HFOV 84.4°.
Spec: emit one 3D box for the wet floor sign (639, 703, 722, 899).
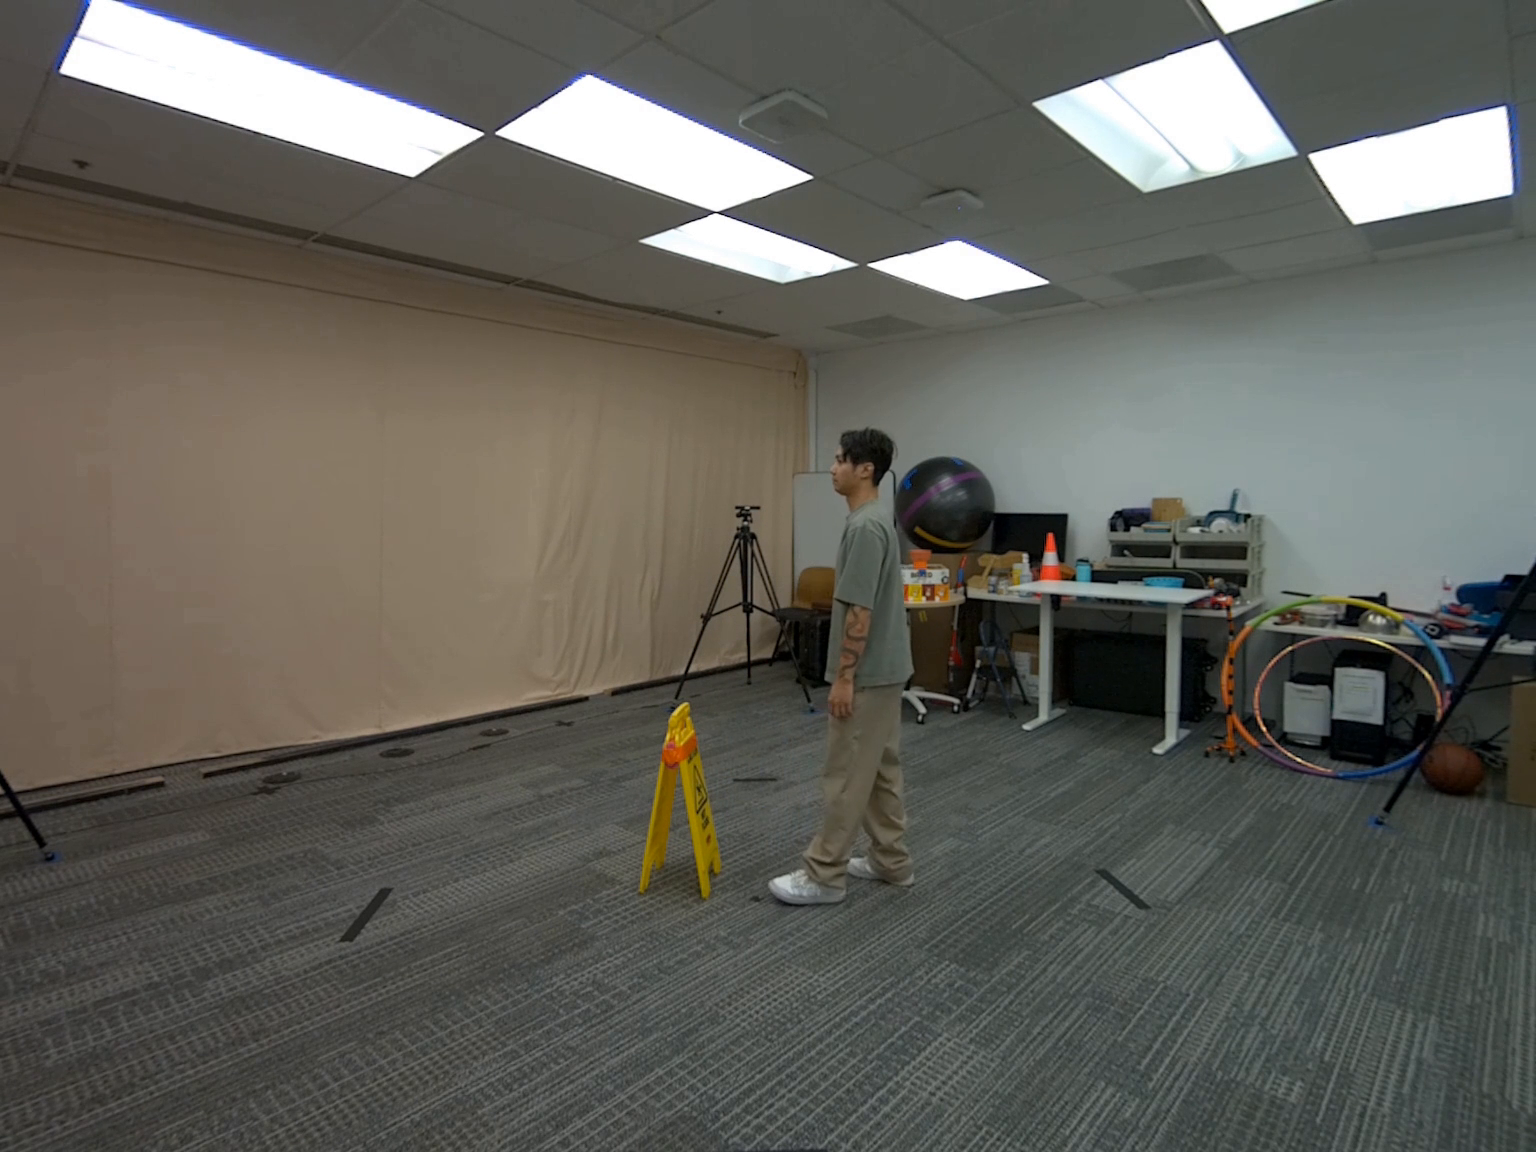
[{"bbox_3d":[-0.325,0.818,3.118,0.293,0.645,0.279,-1,2,9],"label":"wet floor sign"}]
